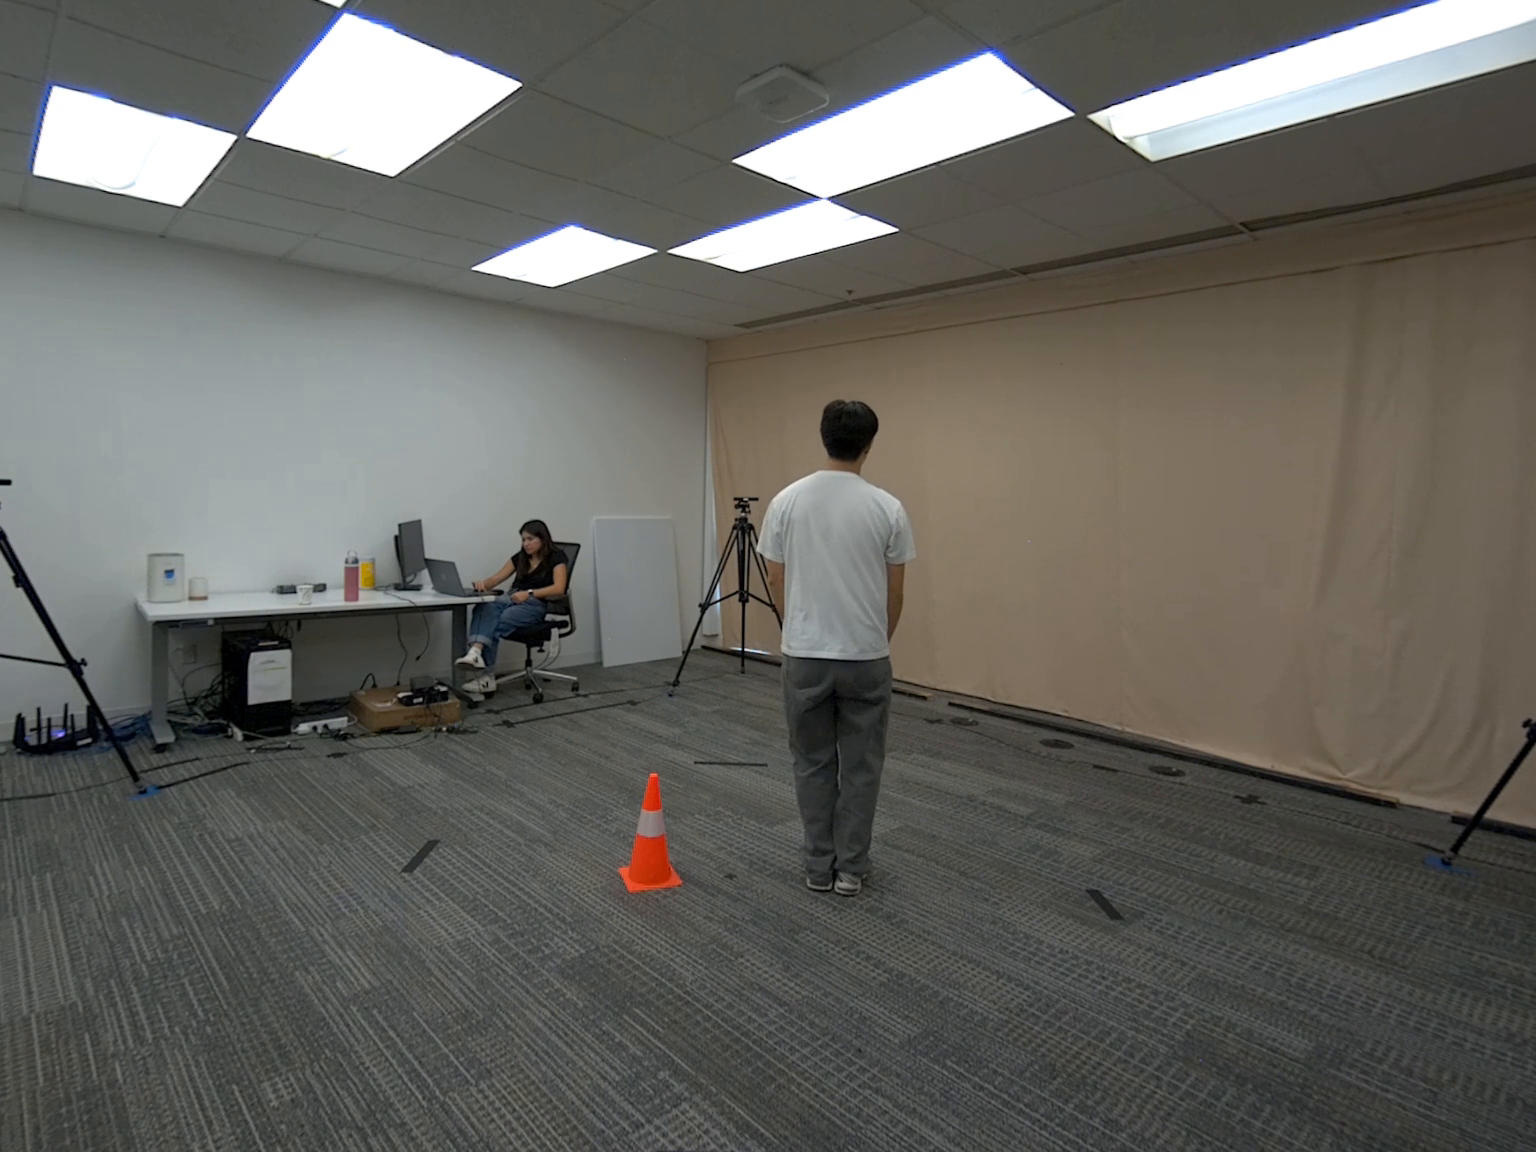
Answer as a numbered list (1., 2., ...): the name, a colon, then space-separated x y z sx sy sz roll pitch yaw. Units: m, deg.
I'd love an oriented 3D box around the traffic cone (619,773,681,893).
1. traffic cone: -0.425 0.920 3.080 0.202 0.383 0.207 3 2 -20
